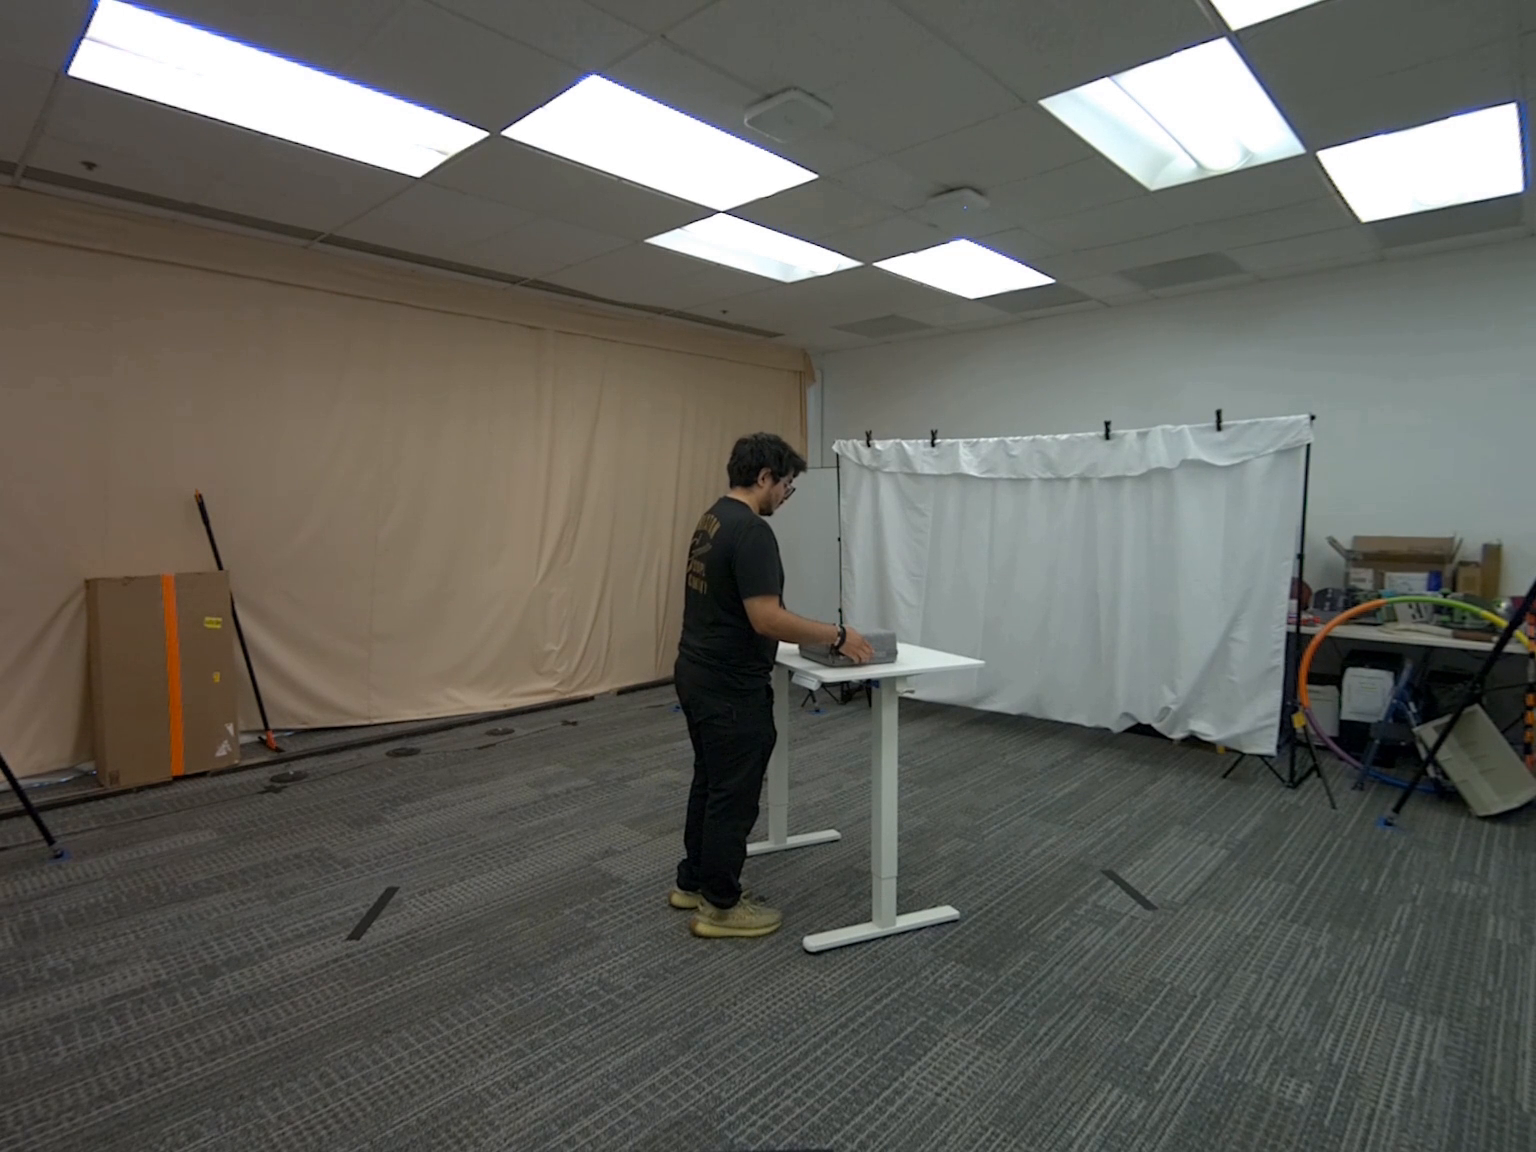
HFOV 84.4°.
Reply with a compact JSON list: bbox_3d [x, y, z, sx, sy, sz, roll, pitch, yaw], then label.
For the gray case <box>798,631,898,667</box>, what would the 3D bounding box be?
[{"bbox_3d":[0.268,0.228,2.758,0.251,0.104,0.266,1,1,-22],"label":"gray case"}]
